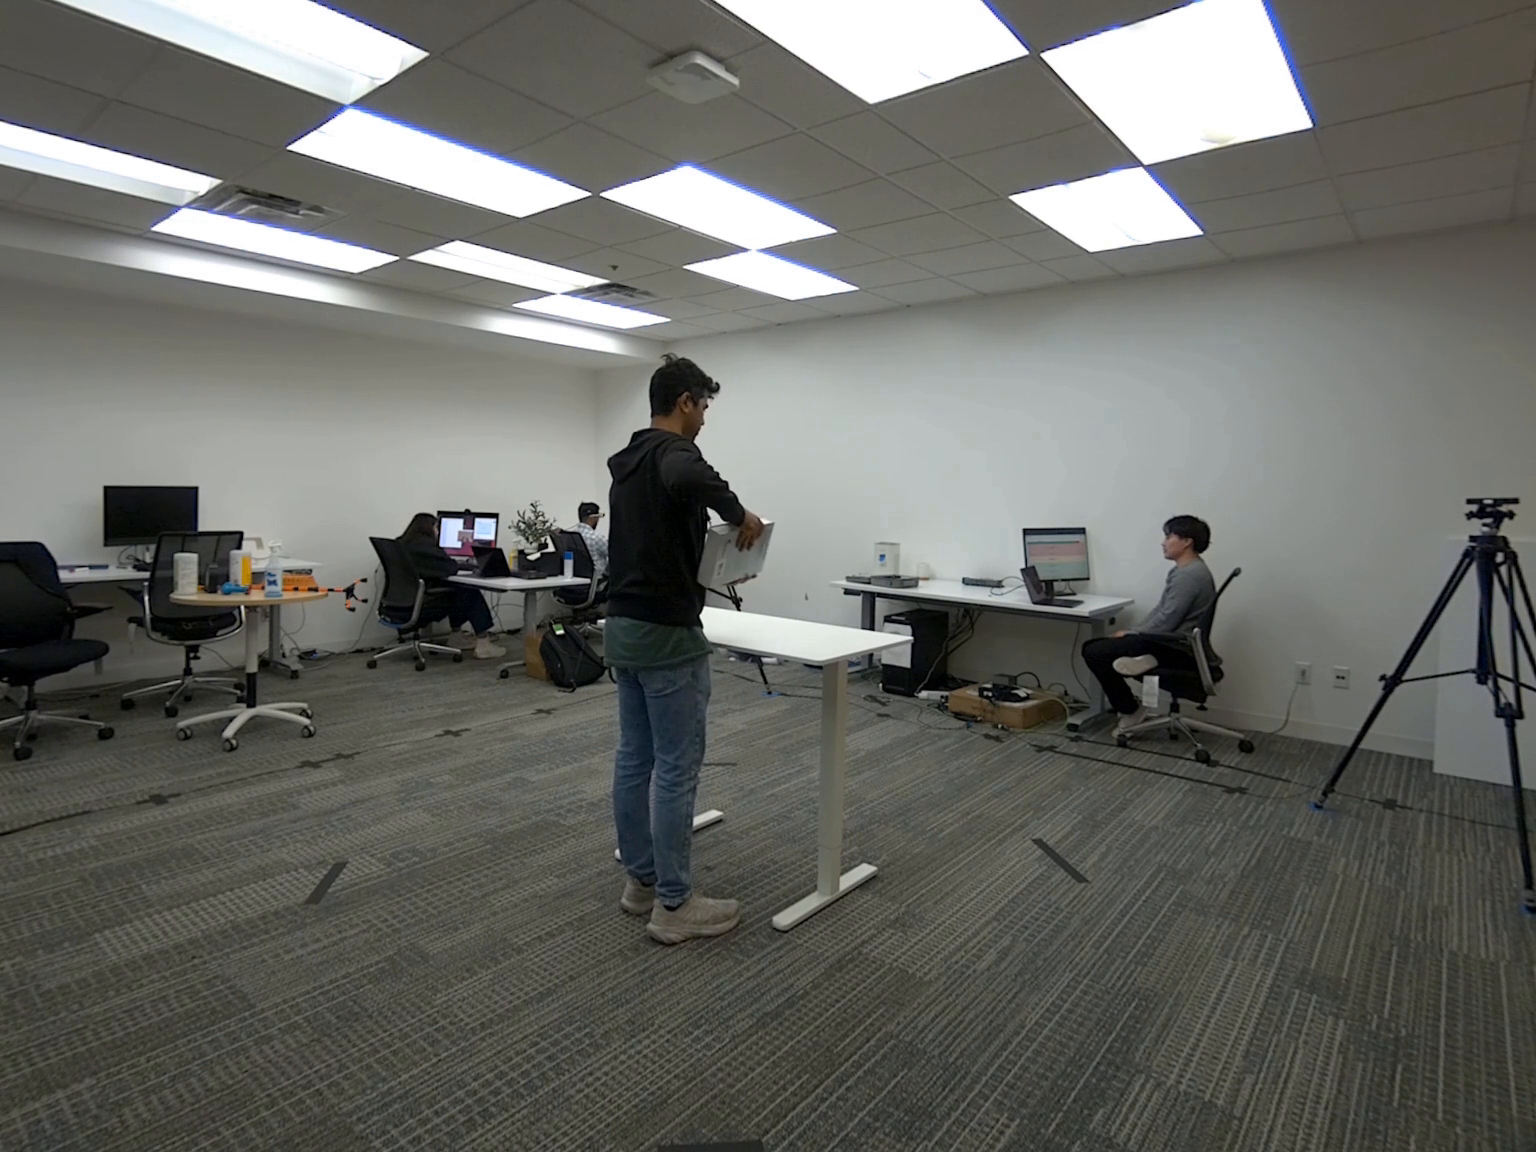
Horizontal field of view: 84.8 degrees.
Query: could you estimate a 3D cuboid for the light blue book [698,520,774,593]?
[{"bbox_3d":[-0.119,-0.080,2.678,0.061,0.188,0.255,27,26,31],"label":"light blue book"}]
